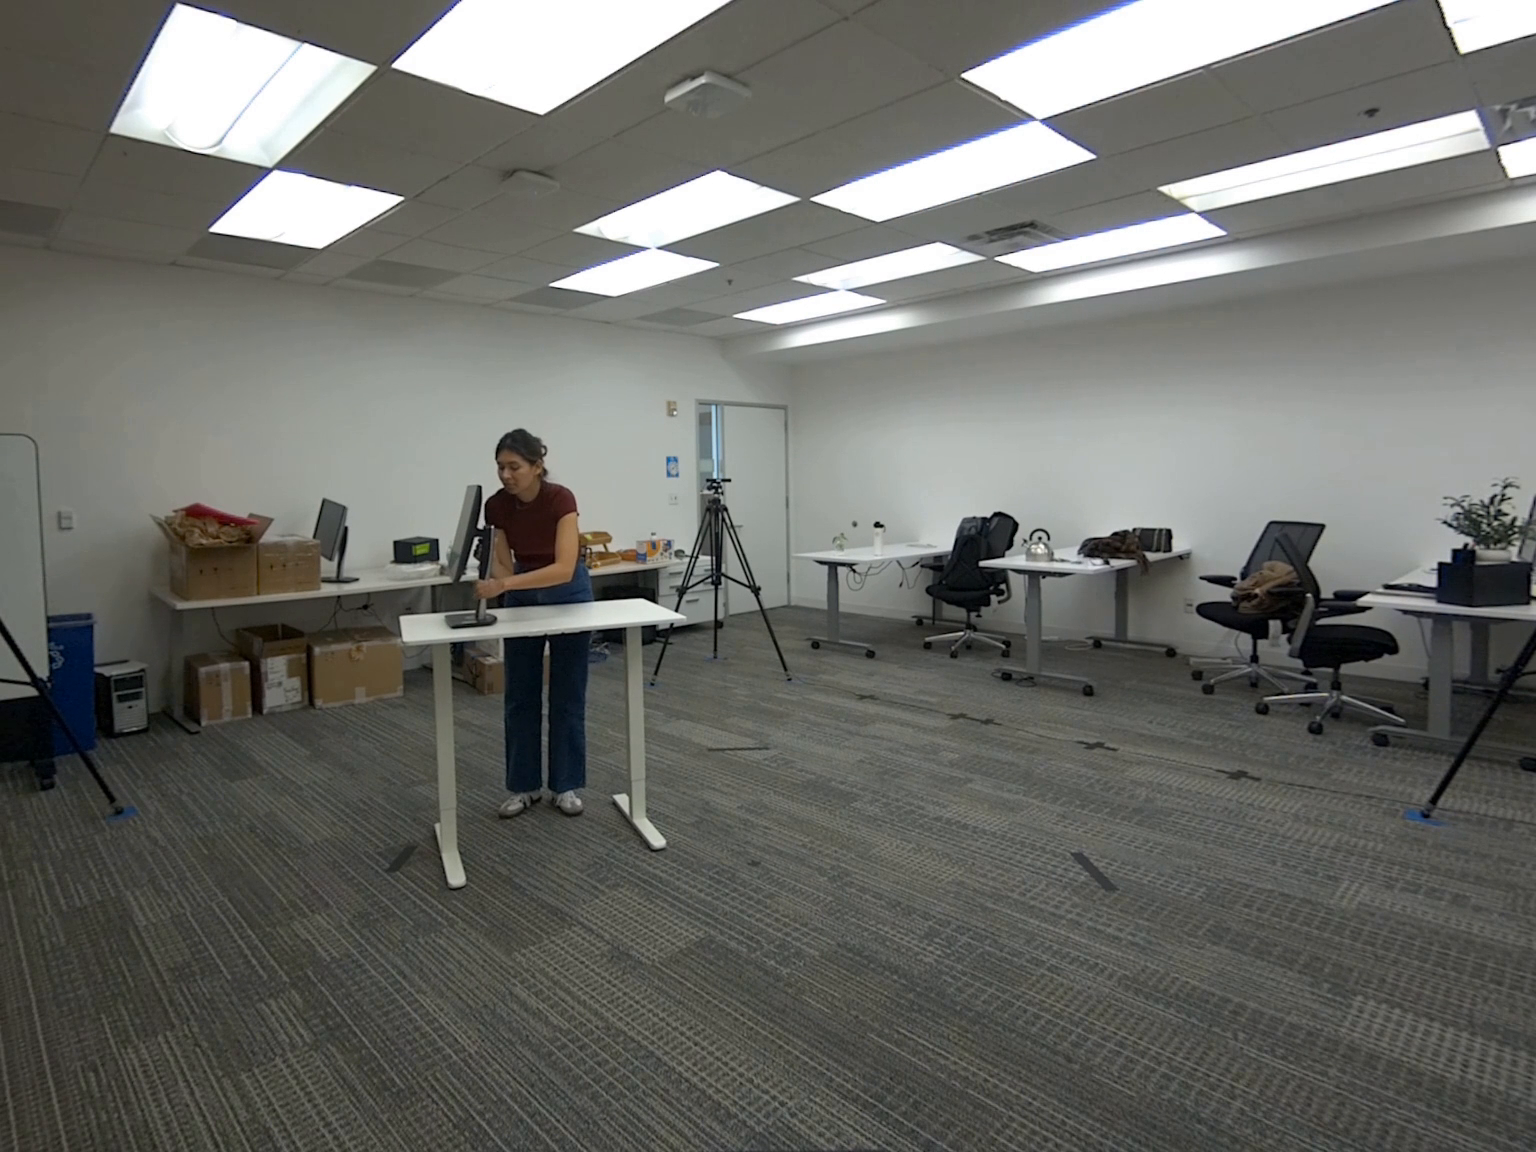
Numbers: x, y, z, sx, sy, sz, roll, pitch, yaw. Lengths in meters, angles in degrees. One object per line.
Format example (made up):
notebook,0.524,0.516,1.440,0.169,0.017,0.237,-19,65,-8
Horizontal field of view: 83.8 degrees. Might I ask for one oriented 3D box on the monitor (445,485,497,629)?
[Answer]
monitor,-1.120,-0.077,3.211,0.183,0.521,0.551,0,4,-23
